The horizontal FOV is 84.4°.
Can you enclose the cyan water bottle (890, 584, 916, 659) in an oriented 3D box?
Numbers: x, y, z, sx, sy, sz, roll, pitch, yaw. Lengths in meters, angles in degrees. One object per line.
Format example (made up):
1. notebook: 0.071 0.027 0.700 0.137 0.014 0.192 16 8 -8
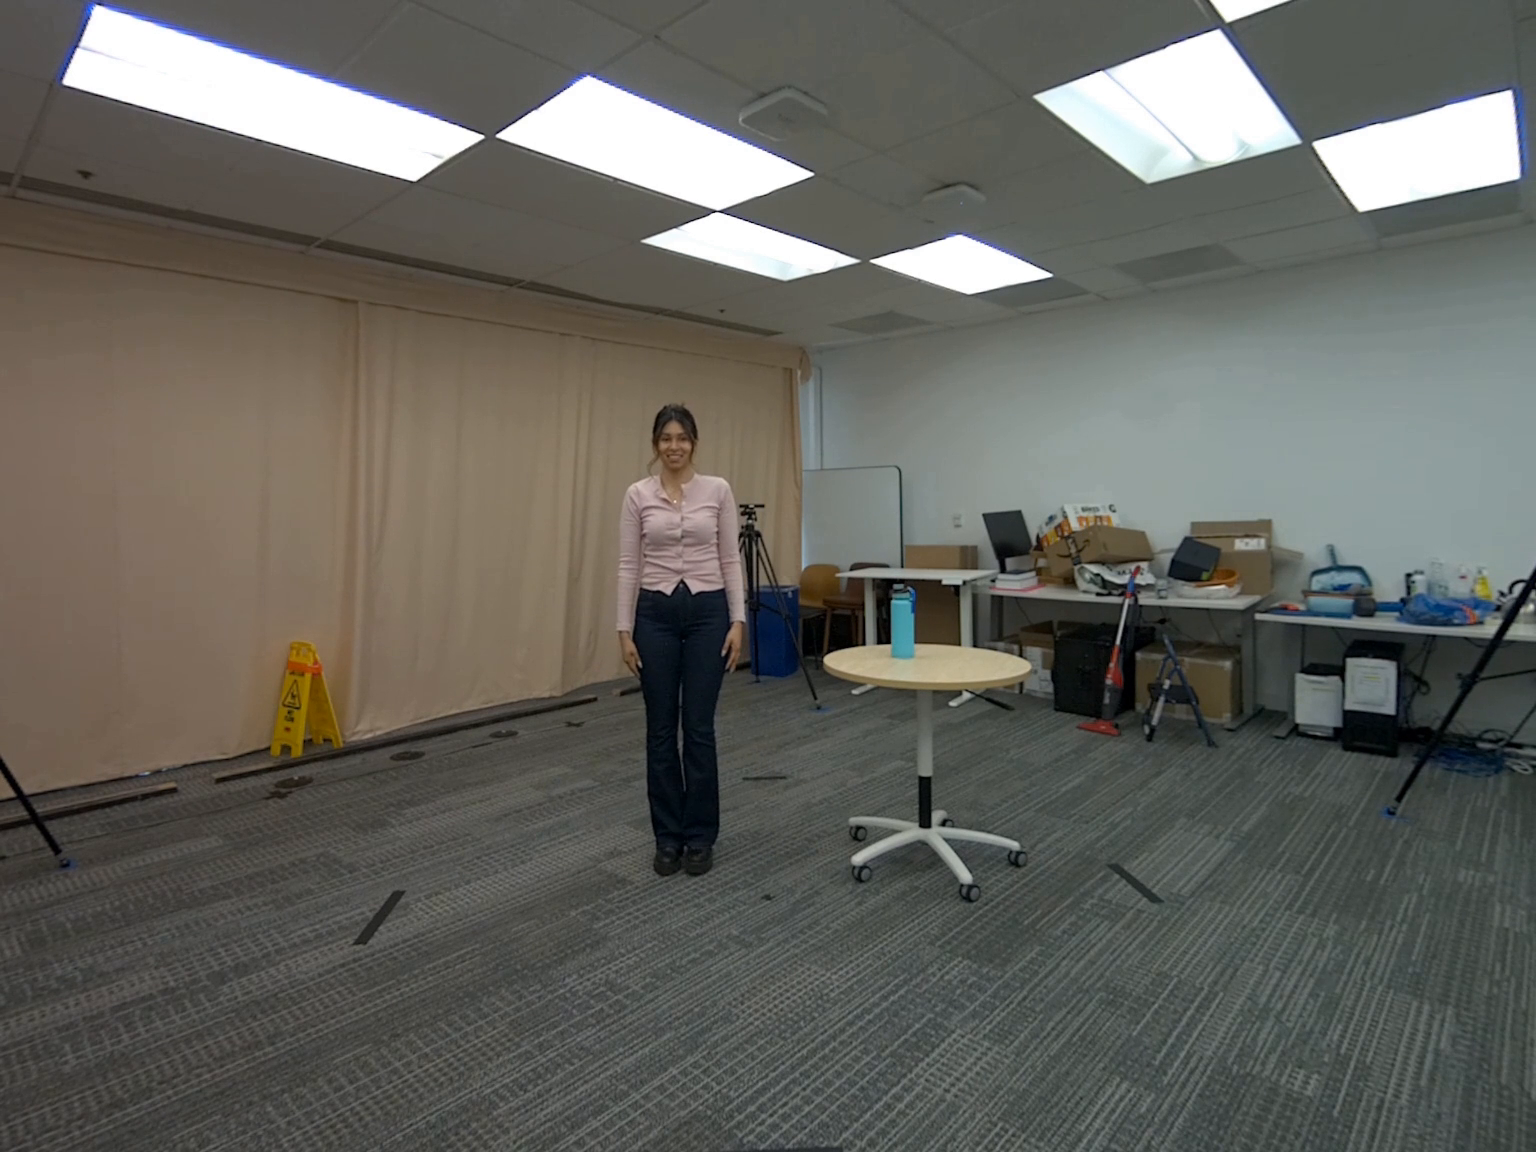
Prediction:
1. cyan water bottle: 0.533 0.177 3.295 0.092 0.282 0.093 0 4 -2
